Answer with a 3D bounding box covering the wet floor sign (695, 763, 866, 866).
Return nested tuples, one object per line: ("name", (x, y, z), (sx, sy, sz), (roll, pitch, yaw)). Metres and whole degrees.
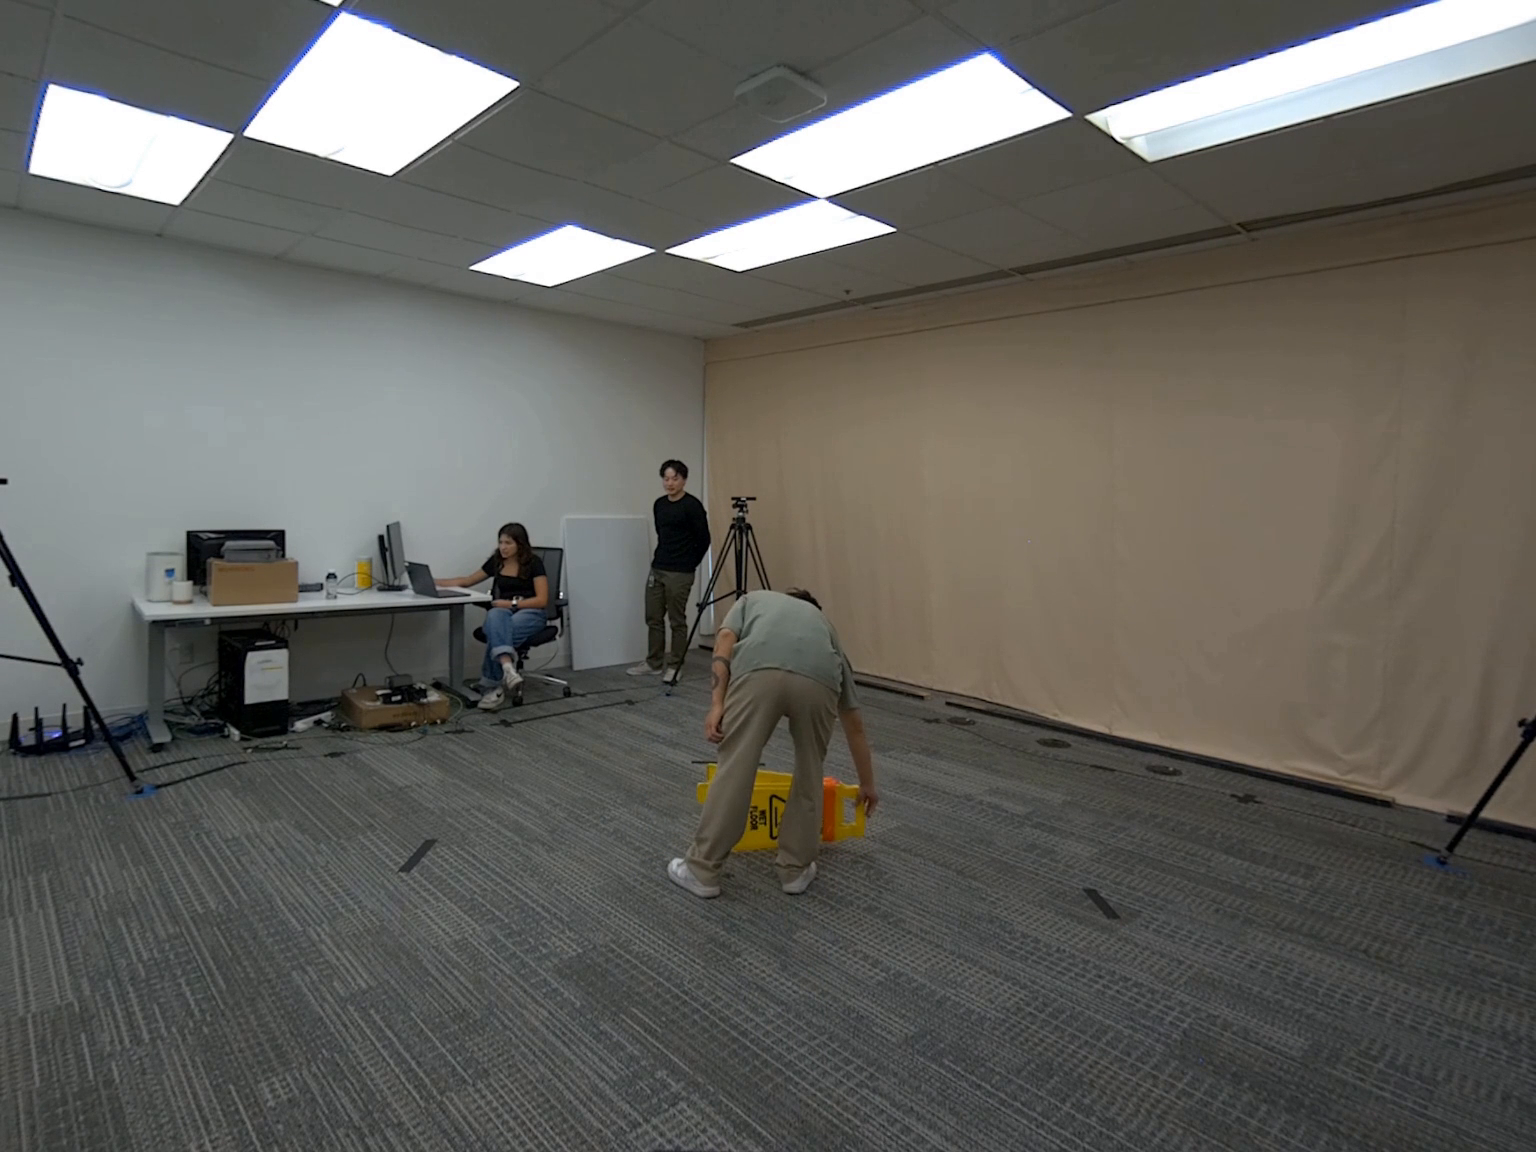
("wet floor sign", (0.055, 0.937, 3.368), (0.650, 0.281, 0.289), (0, 4, 7))
